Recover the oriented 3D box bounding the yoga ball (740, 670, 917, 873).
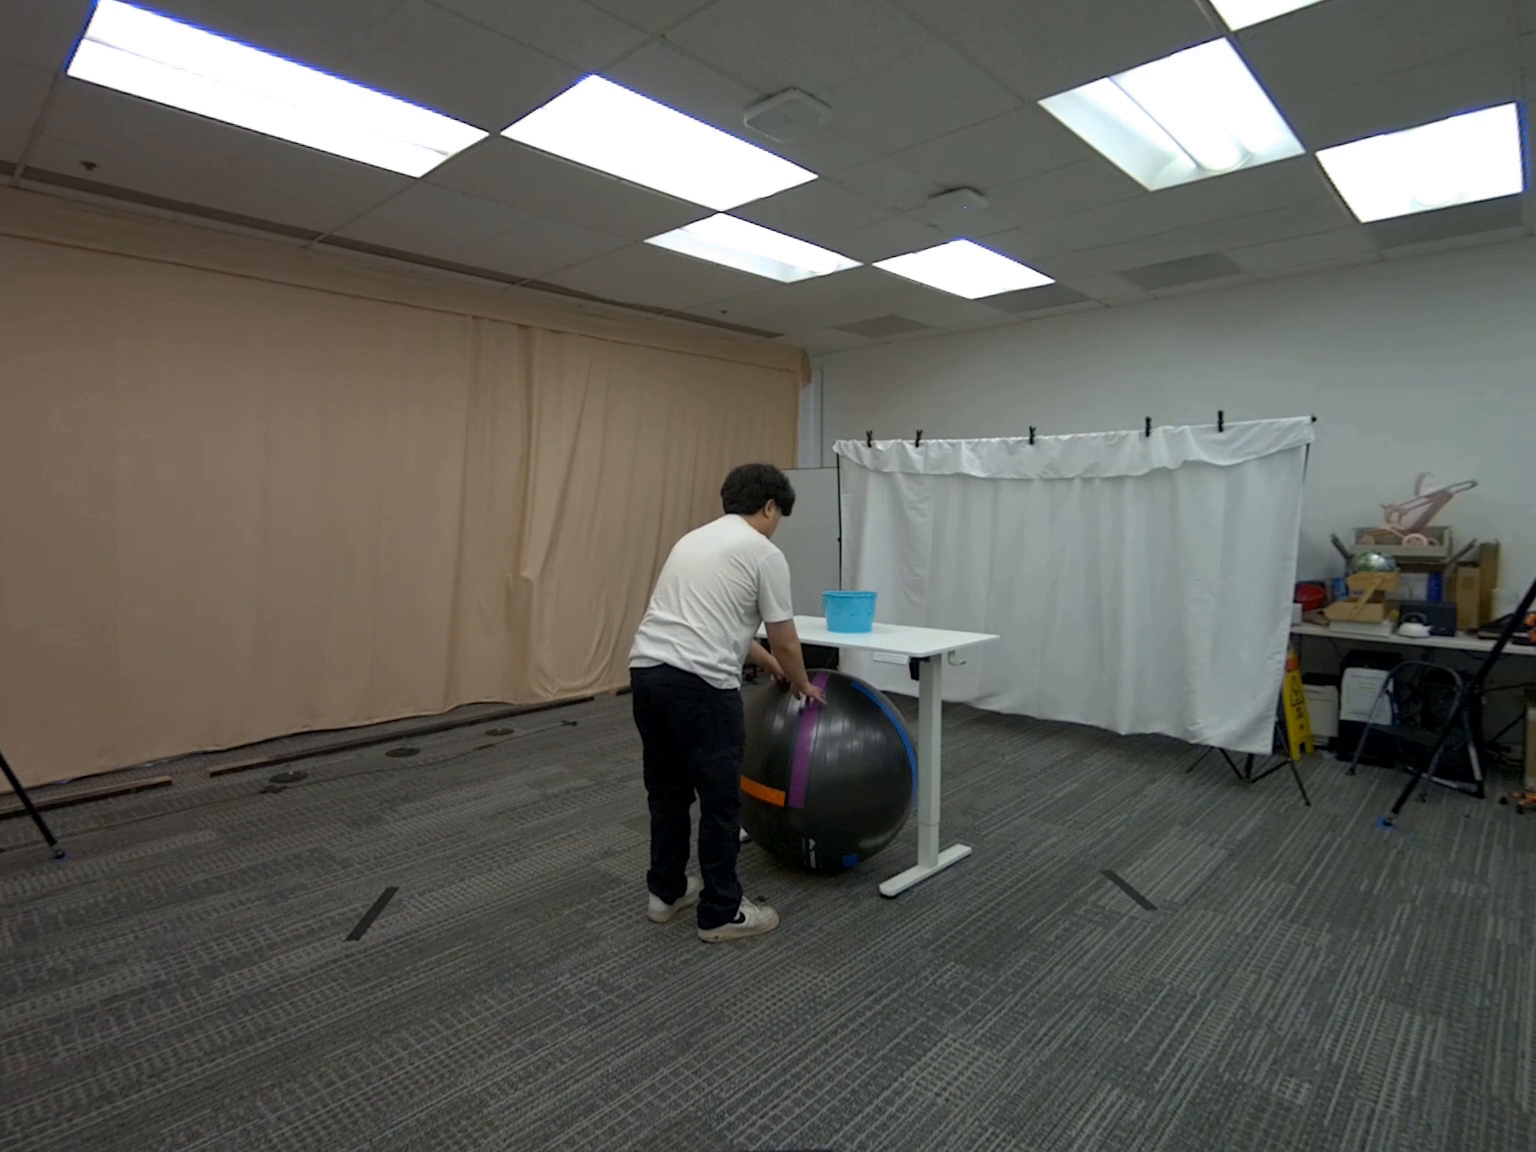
[{"bbox_3d":[0.200,0.754,3.291,0.757,0.756,0.760,0,4,-2],"label":"yoga ball"}]
